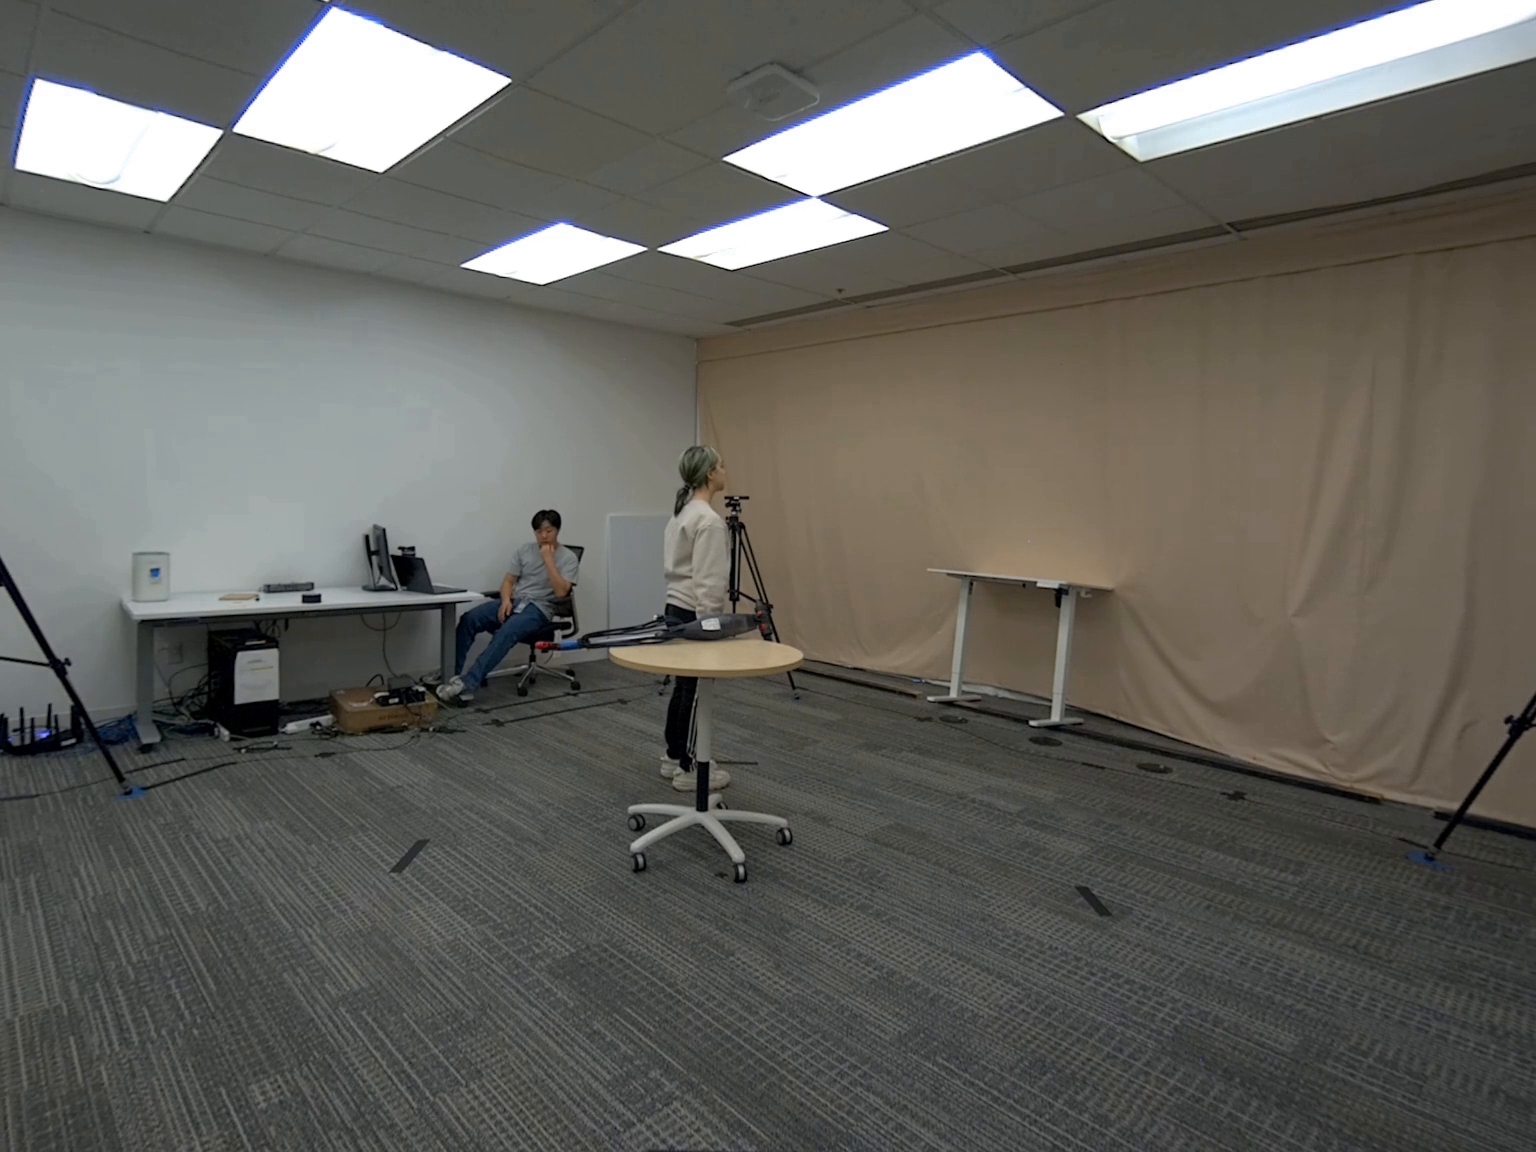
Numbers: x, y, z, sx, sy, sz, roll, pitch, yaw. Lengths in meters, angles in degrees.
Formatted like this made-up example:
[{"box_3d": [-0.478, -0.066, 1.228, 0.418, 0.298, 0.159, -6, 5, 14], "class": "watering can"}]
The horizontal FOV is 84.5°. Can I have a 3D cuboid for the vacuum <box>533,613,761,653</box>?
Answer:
[{"box_3d": [-0.450, 0.239, 3.497, 1.028, 0.258, 0.144, -3, -26, -31], "class": "vacuum"}]
